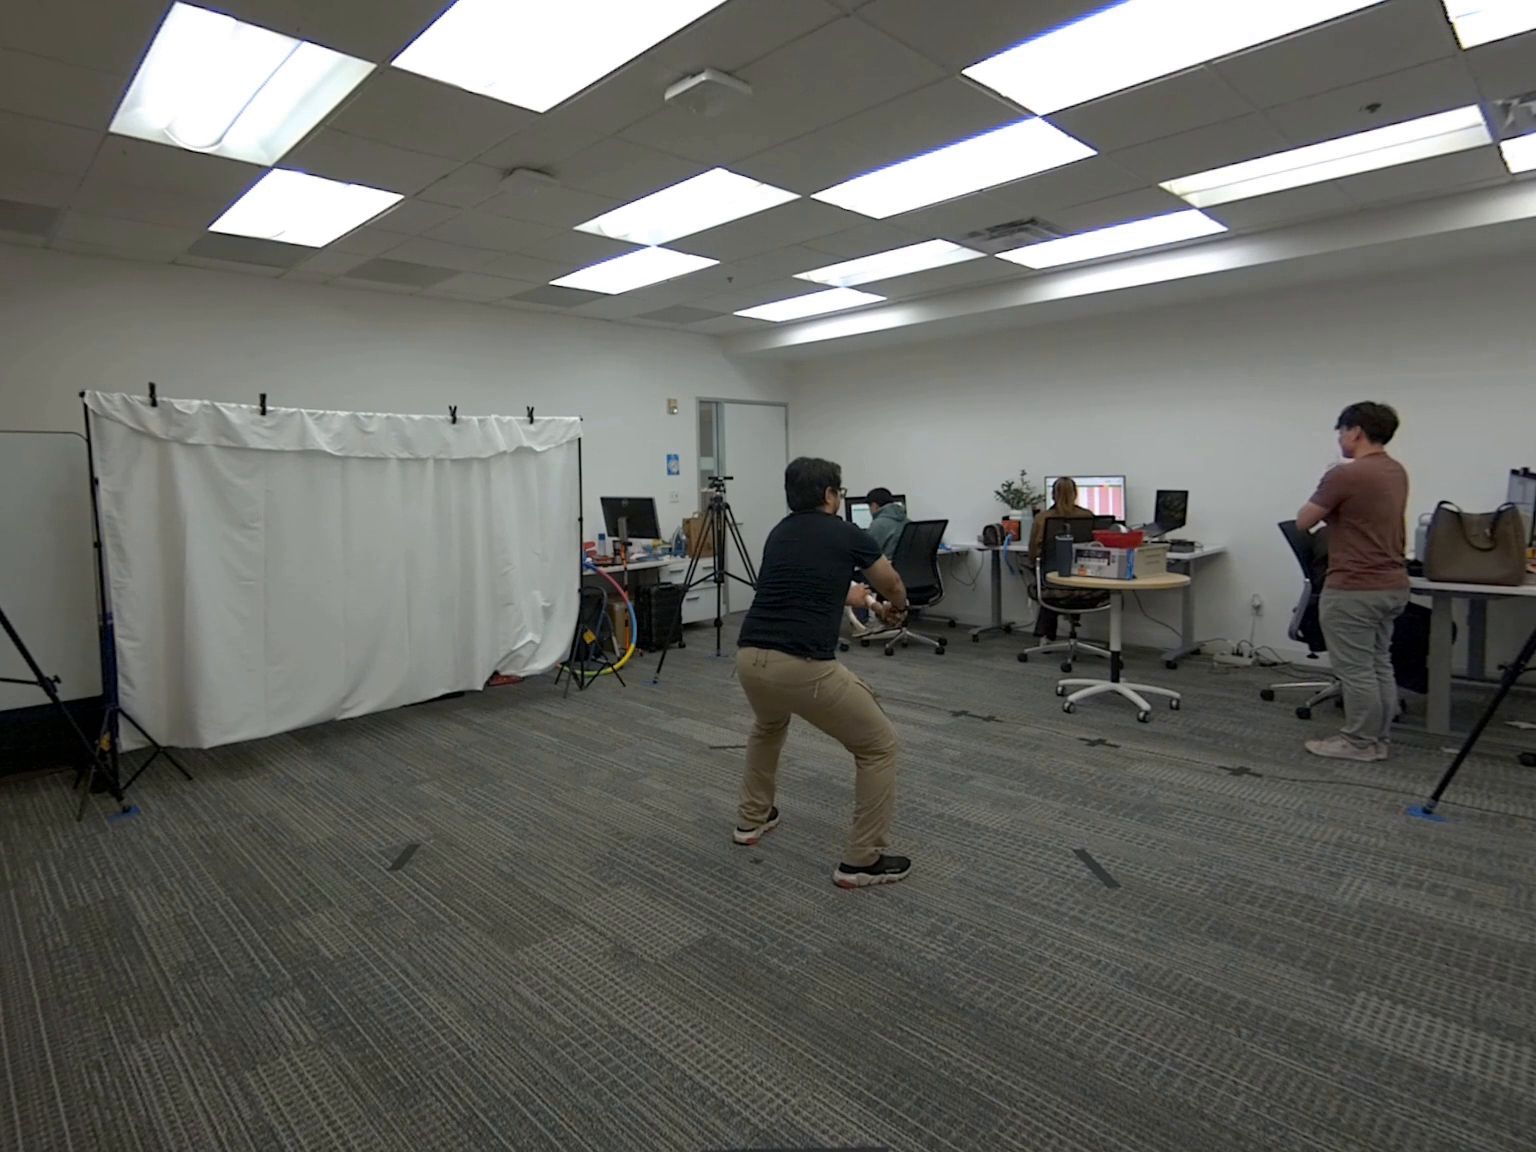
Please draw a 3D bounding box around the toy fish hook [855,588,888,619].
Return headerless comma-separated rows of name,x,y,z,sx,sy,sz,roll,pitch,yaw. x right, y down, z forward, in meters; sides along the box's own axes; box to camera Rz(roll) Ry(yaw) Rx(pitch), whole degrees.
toy fish hook,0.439,0.162,3.693,0.048,0.220,0.520,-18,18,-15
